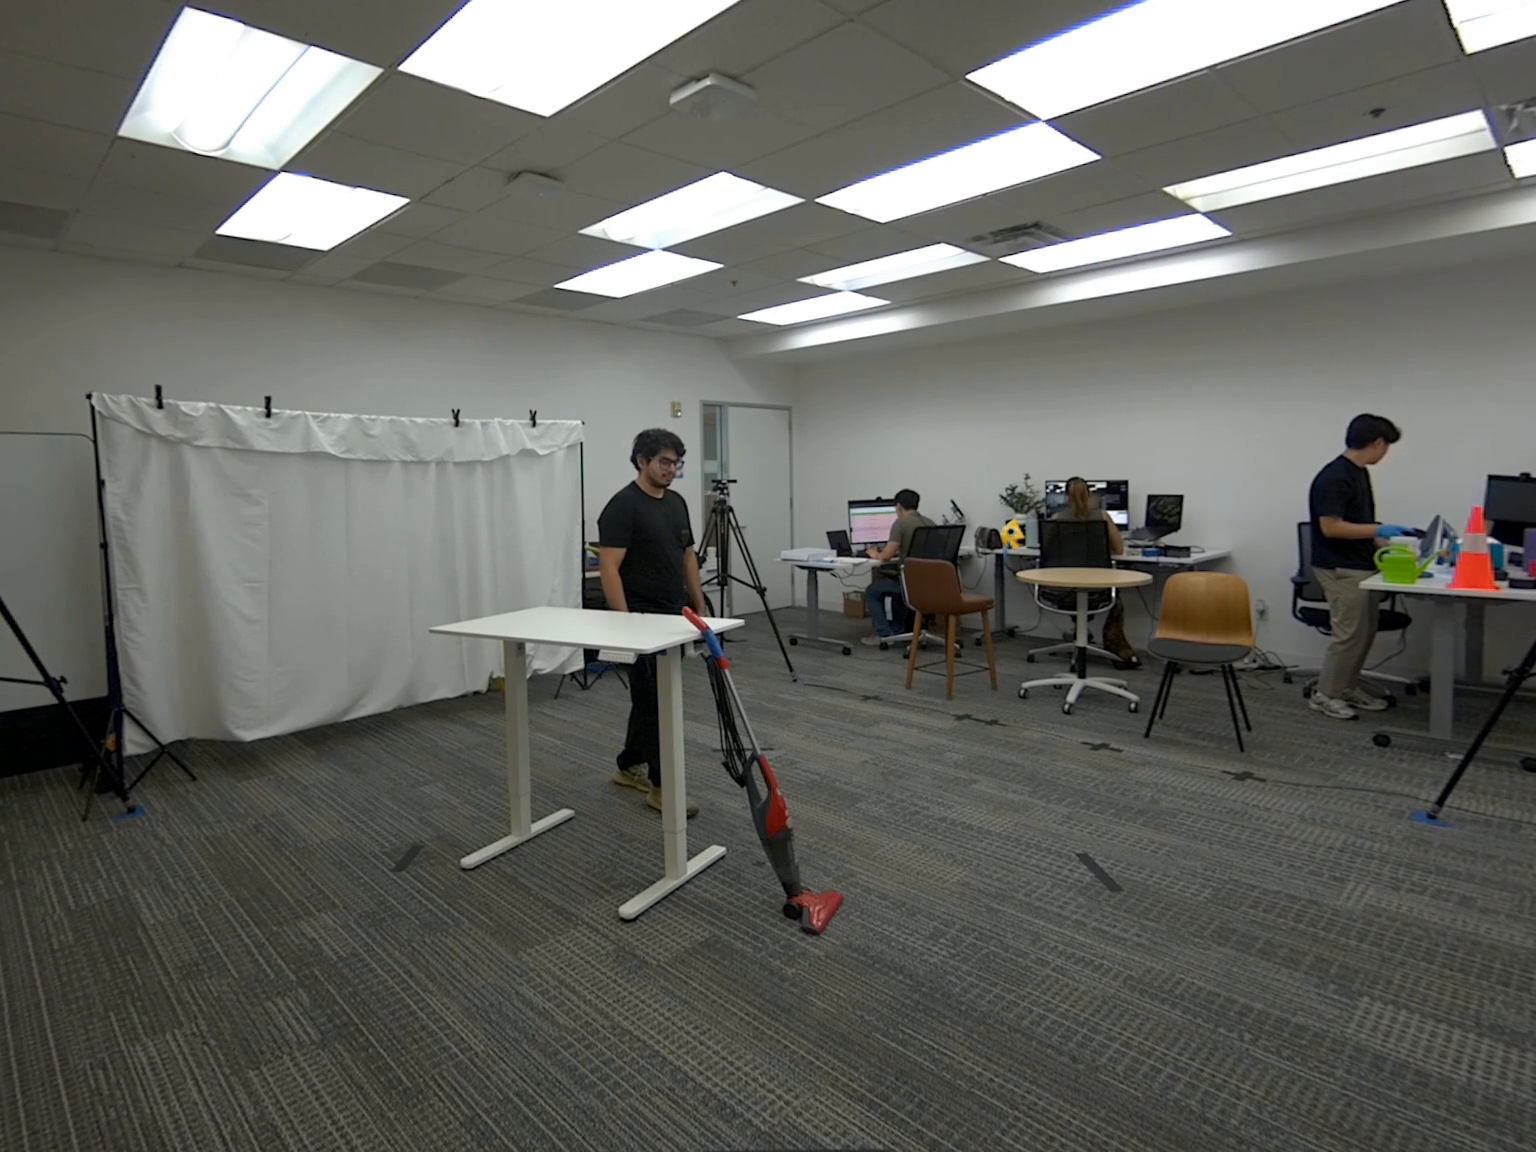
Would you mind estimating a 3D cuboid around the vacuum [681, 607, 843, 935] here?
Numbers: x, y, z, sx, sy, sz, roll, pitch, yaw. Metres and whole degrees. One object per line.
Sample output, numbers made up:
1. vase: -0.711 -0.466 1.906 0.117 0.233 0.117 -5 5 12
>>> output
1. vacuum: -0.056 0.604 2.811 0.145 1.059 0.247 -26 -8 24
